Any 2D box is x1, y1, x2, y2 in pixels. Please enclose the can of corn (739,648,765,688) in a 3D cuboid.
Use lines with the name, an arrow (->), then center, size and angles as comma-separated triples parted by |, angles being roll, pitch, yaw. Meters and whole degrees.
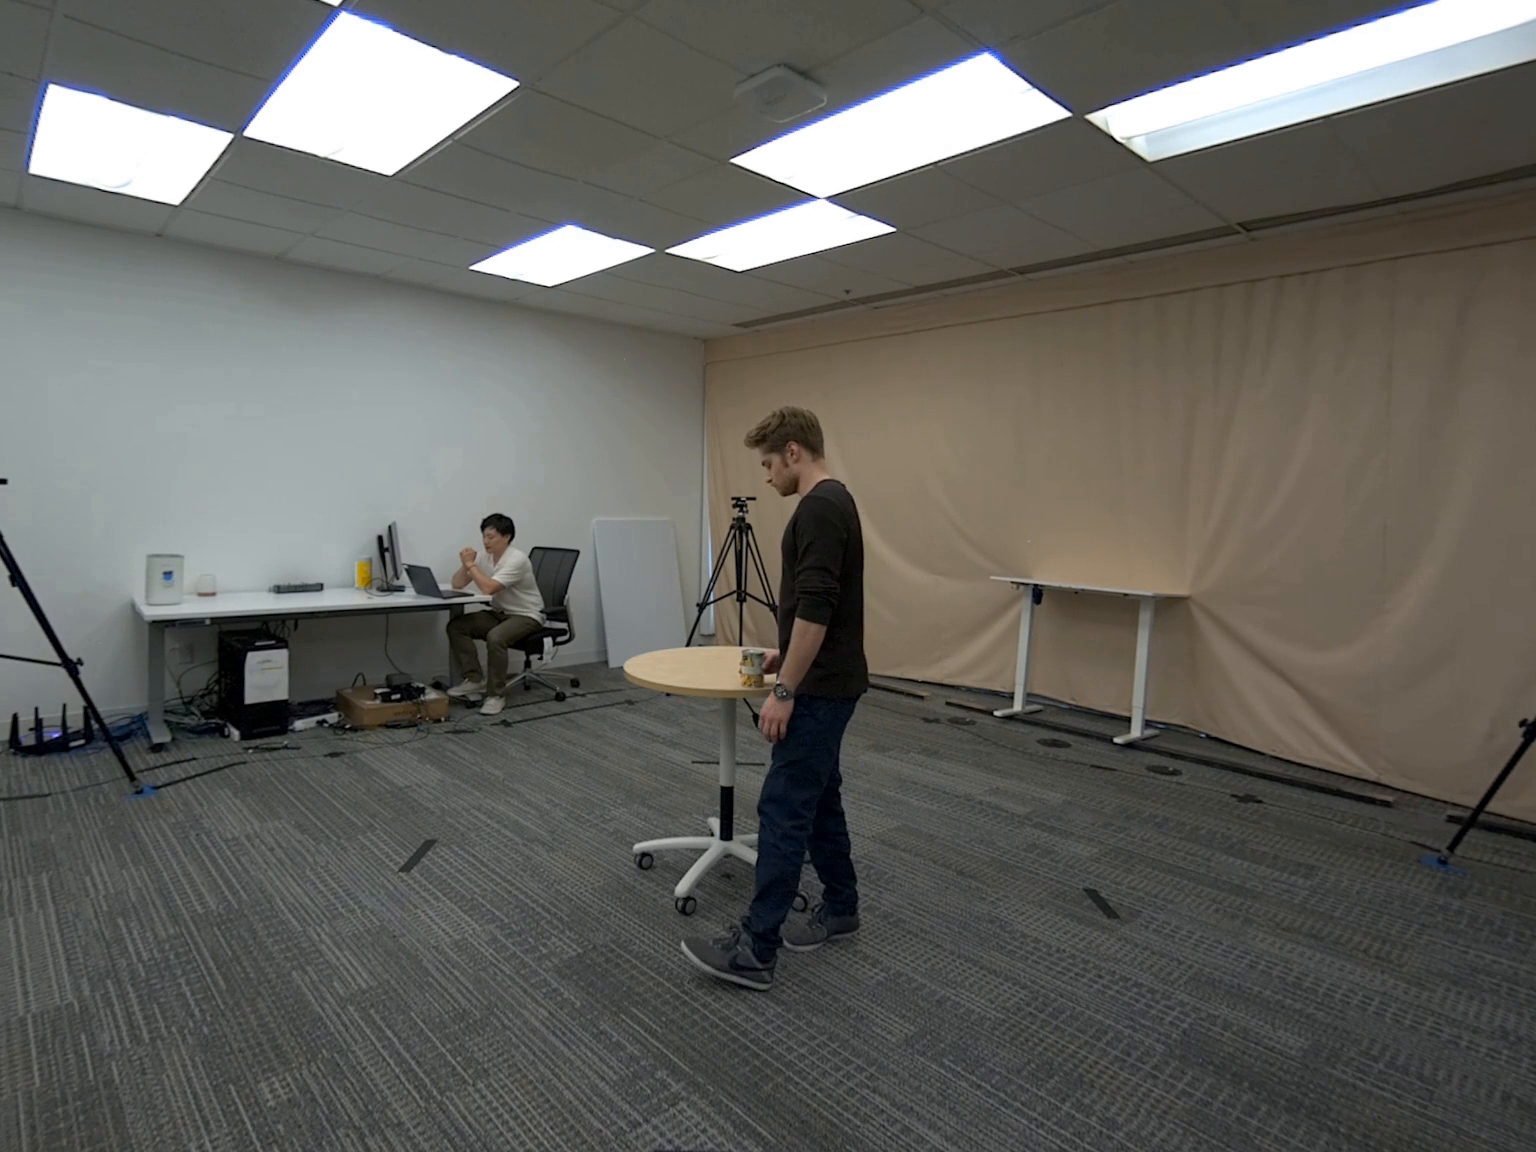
can of corn -> -0.052, 0.301, 2.737 | 0.074, 0.111, 0.074 | 0, 3, -1
